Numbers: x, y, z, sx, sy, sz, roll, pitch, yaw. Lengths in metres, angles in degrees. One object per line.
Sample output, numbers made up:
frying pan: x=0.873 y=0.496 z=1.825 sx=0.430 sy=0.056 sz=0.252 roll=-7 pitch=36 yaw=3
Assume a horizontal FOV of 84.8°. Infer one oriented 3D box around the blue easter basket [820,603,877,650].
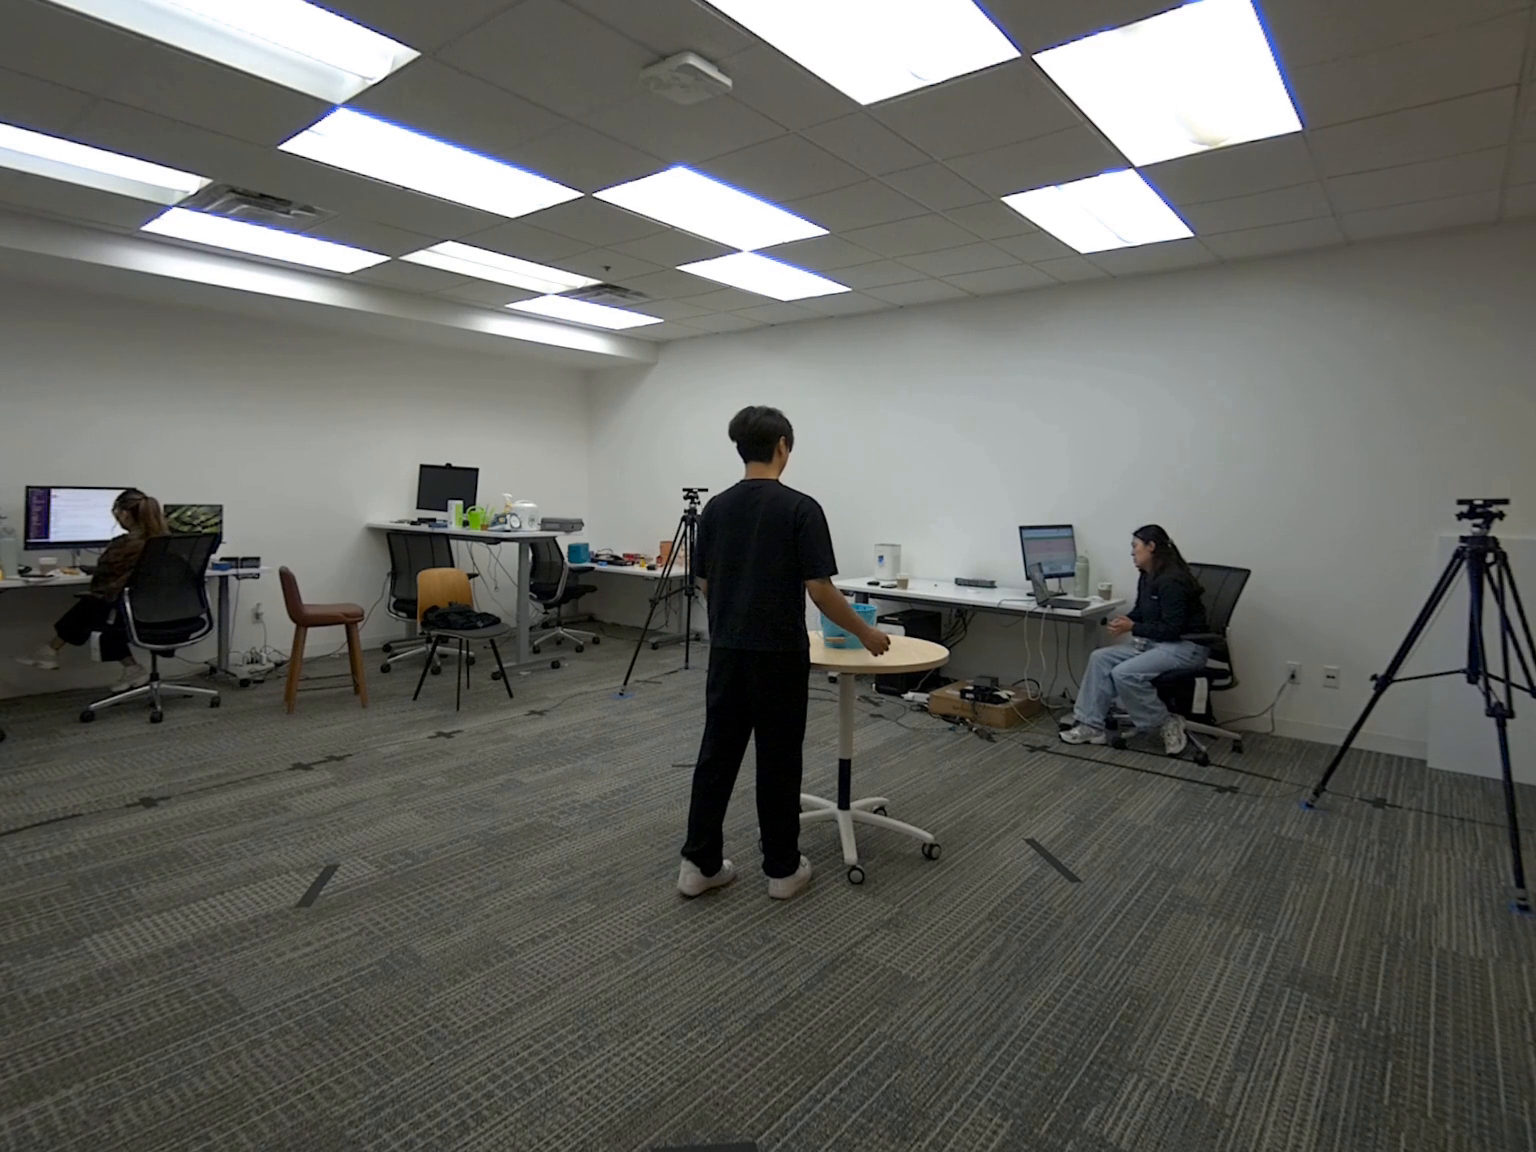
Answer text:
blue easter basket: x=0.310 y=0.197 z=3.381 sx=0.243 sy=0.155 sz=0.245 roll=0 pitch=5 yaw=-2
